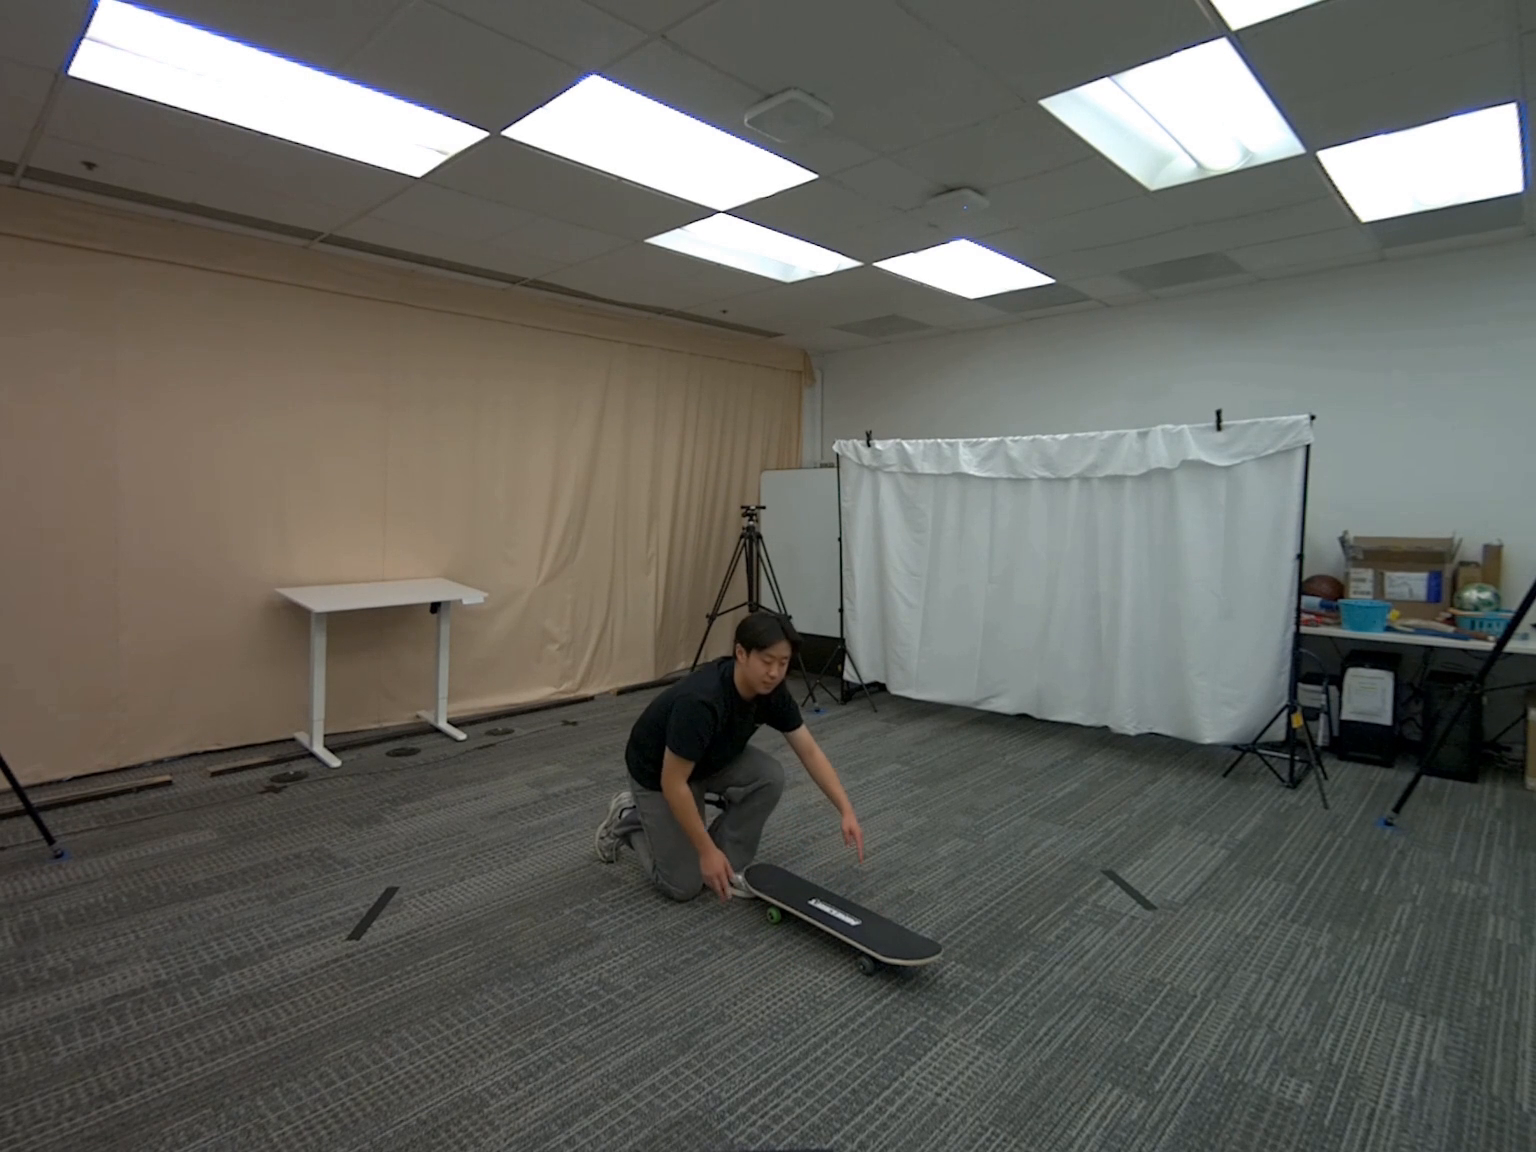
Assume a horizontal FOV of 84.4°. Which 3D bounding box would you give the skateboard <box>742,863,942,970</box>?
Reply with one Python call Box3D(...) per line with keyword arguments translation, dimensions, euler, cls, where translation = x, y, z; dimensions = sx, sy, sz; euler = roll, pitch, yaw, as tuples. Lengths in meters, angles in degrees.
Box3D(translation=(0.215, 1.108, 2.704), dimensions=(0.187, 0.110, 0.812), euler=(-3, 6, -42), cls="skateboard")
